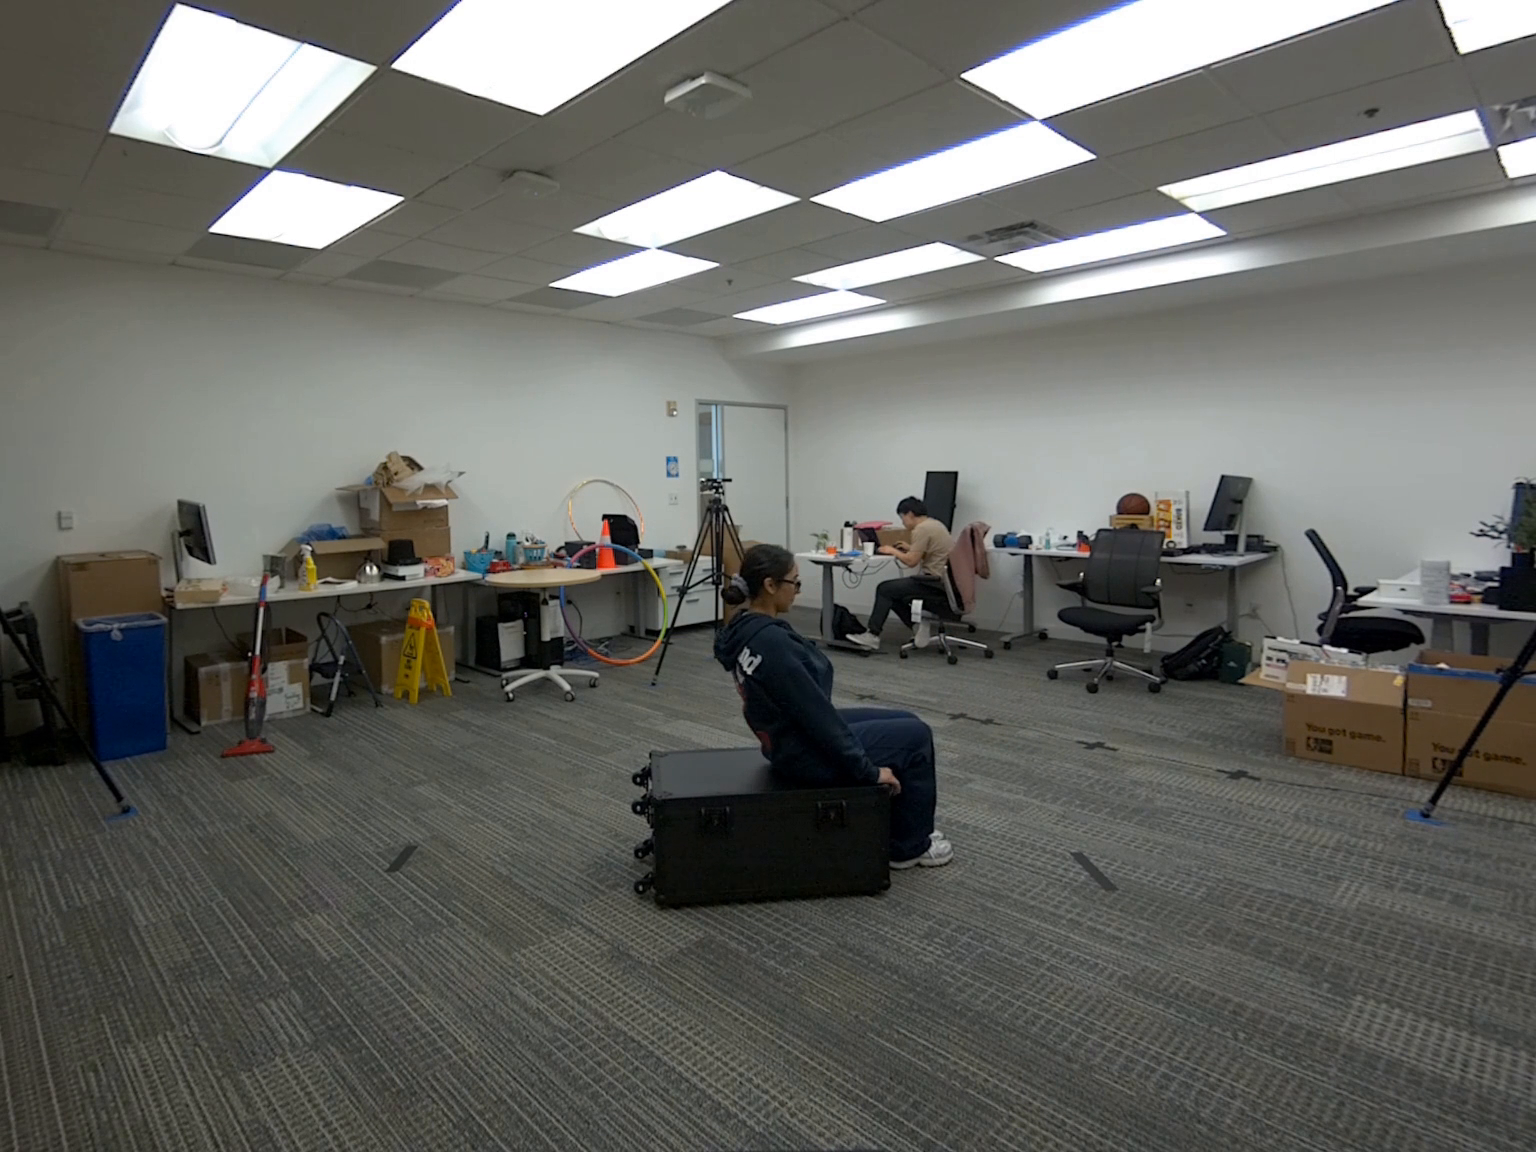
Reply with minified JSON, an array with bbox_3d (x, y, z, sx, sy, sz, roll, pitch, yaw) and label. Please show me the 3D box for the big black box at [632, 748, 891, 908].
[{"bbox_3d":[-0.054,0.858,3.027,0.856,0.394,0.527,-1,6,-7],"label":"big black box"}]
